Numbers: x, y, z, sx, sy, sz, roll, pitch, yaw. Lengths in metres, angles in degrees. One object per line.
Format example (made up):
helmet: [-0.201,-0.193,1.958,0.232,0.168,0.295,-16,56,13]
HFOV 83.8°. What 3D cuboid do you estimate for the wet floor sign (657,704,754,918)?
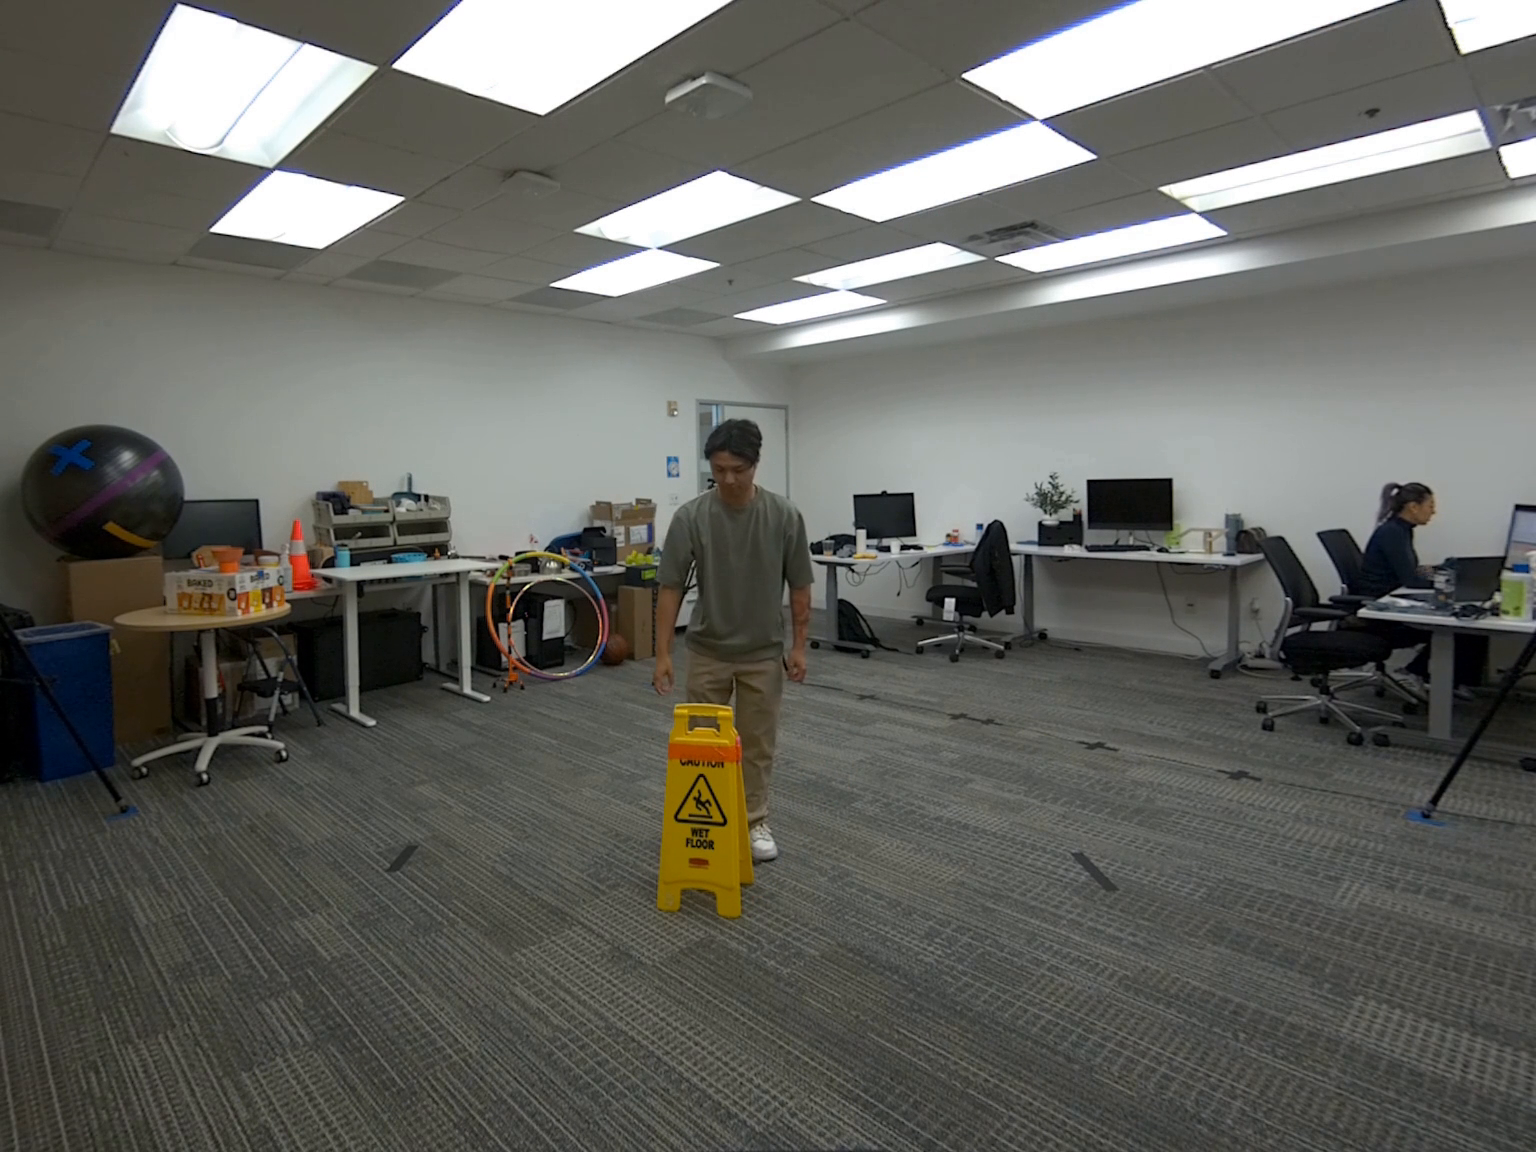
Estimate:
wet floor sign: [-0.203,0.759,2.842,0.285,0.643,0.288,-1,6,11]
